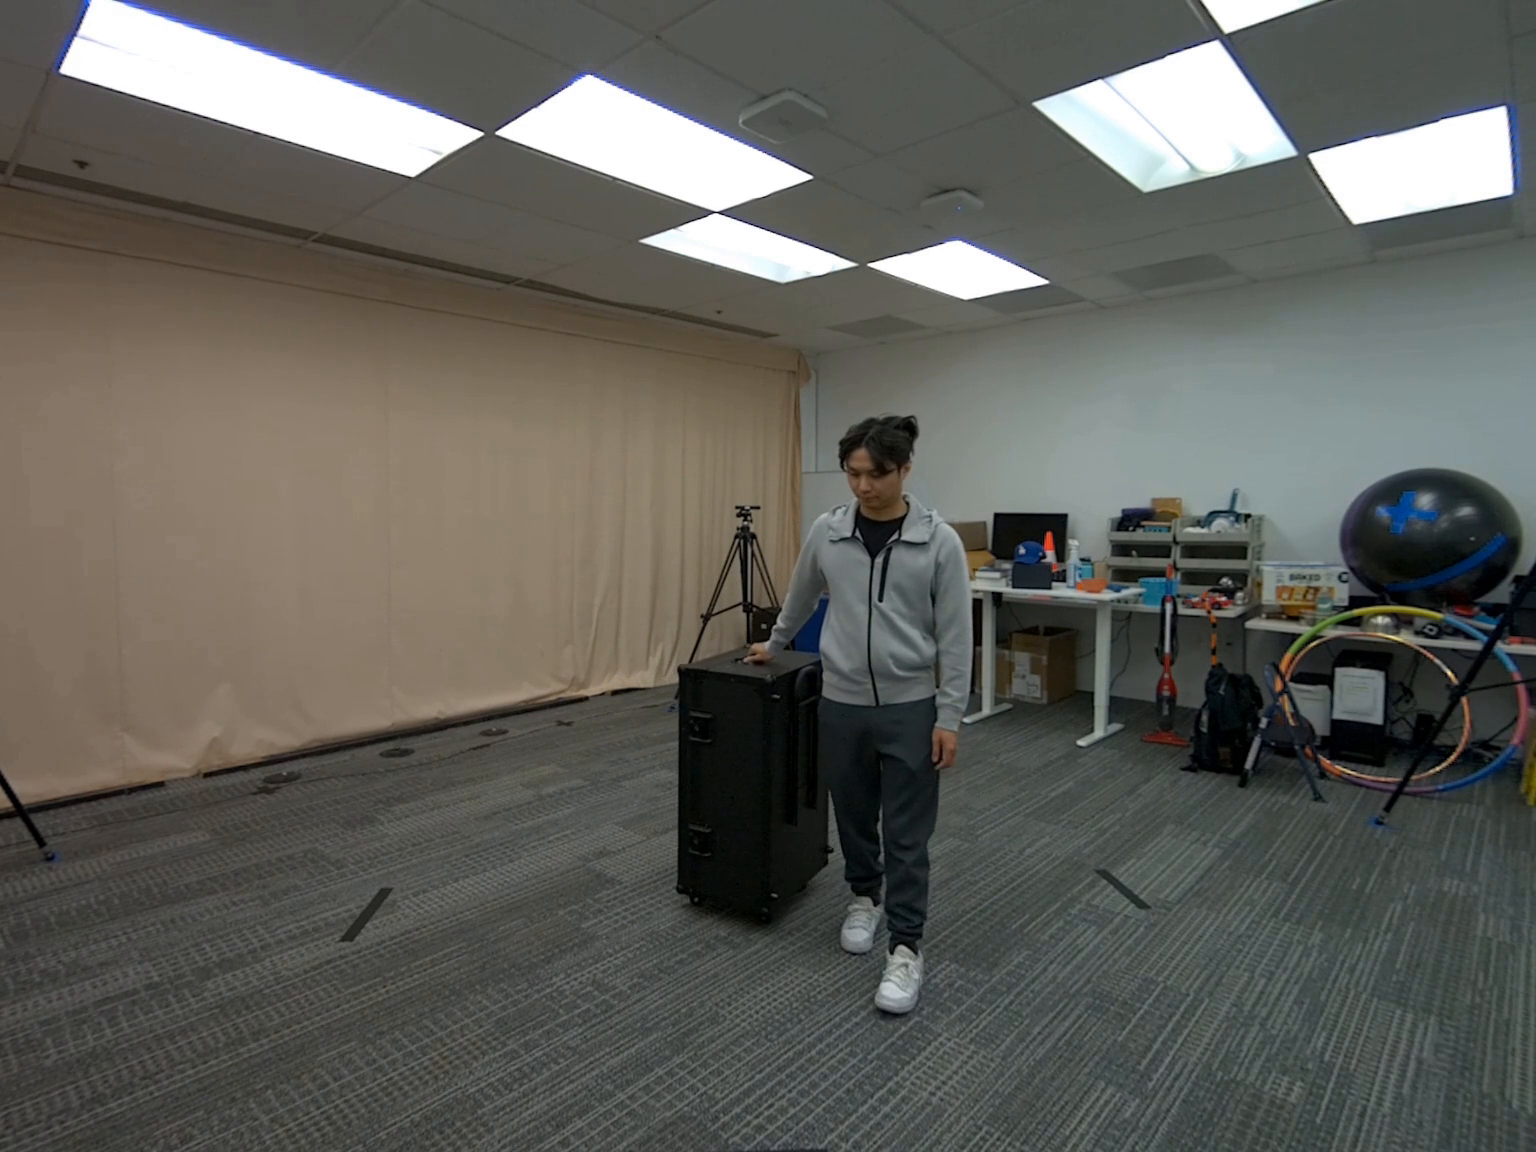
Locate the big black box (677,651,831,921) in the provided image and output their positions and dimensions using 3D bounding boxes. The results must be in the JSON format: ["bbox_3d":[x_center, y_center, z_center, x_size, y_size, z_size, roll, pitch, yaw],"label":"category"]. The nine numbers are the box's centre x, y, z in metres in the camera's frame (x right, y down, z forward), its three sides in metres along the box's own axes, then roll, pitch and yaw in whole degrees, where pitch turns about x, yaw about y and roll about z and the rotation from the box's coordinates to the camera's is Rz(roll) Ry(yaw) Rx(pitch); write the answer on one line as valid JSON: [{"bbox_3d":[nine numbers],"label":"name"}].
[{"bbox_3d":[-0.028,0.720,2.973,0.408,0.859,0.508,4,5,29],"label":"big black box"}]
